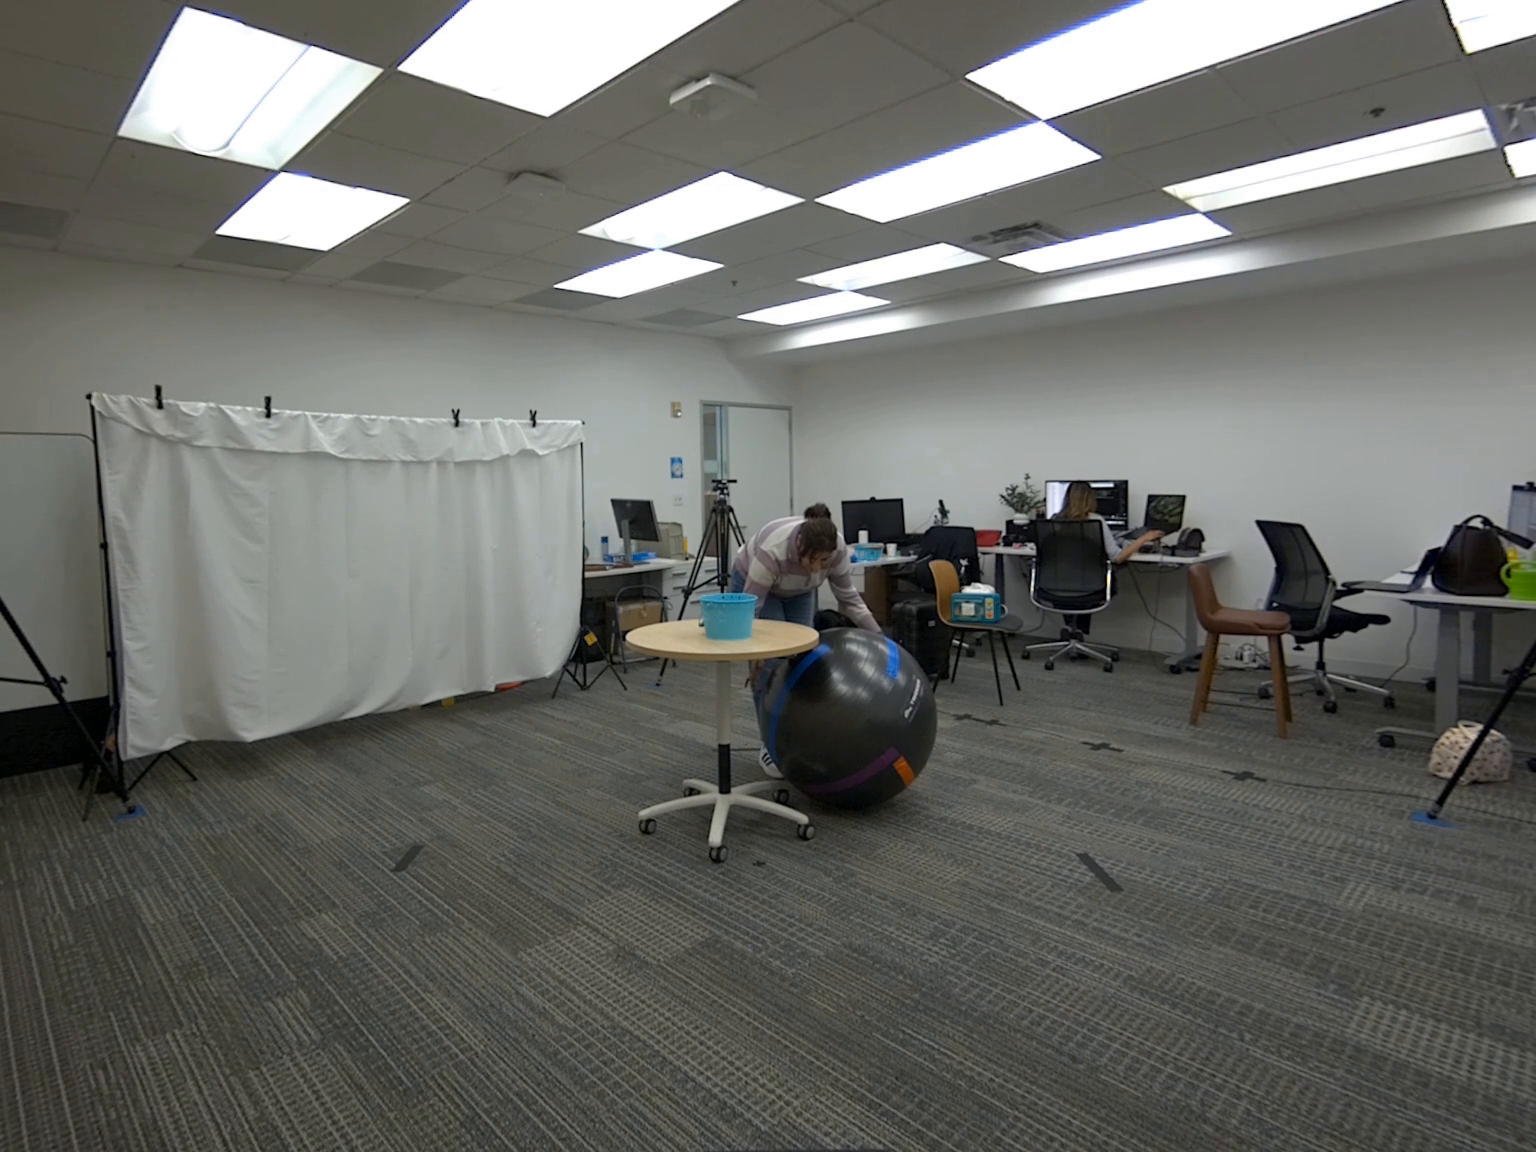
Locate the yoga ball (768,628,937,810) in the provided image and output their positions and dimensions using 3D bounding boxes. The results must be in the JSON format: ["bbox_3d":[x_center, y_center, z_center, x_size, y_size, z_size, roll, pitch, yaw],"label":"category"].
[{"bbox_3d":[0.356,0.605,3.685,0.757,0.755,0.762,-1,5,-2],"label":"yoga ball"}]
